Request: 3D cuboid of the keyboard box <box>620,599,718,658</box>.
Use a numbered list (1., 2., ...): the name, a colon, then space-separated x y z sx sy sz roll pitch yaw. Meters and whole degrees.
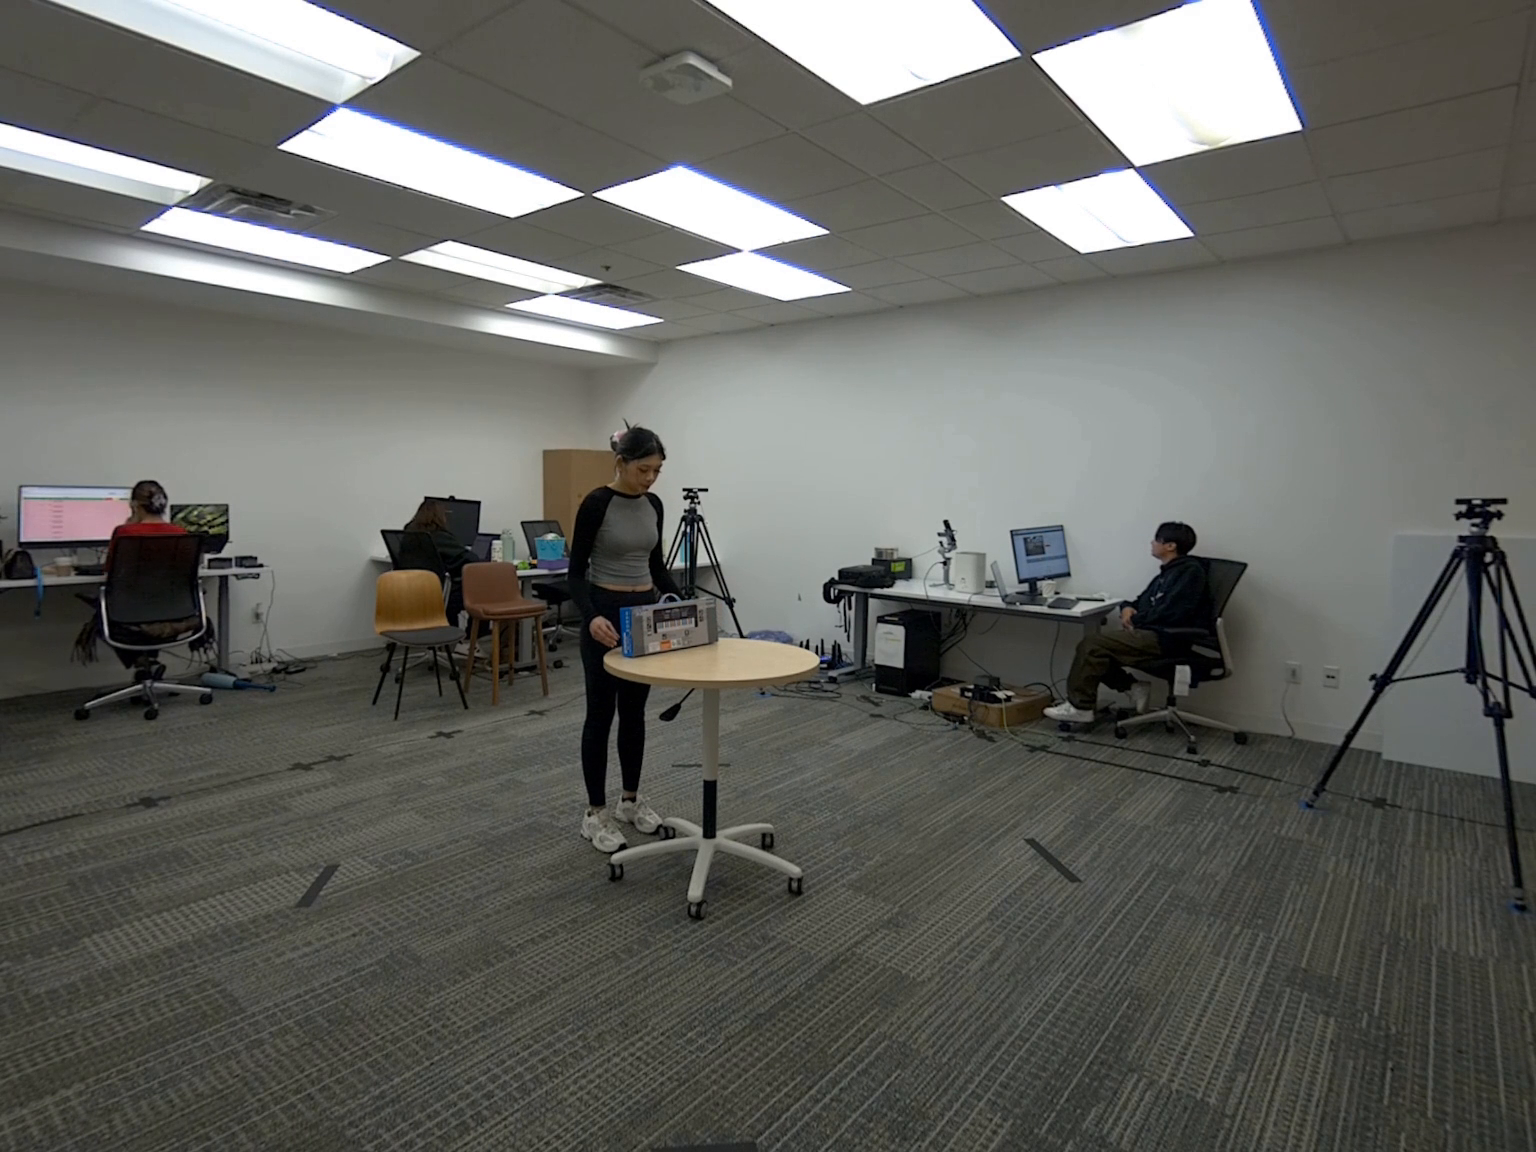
1. keyboard box: -0.370 0.182 3.154 0.061 0.176 0.424 -5 0 43
